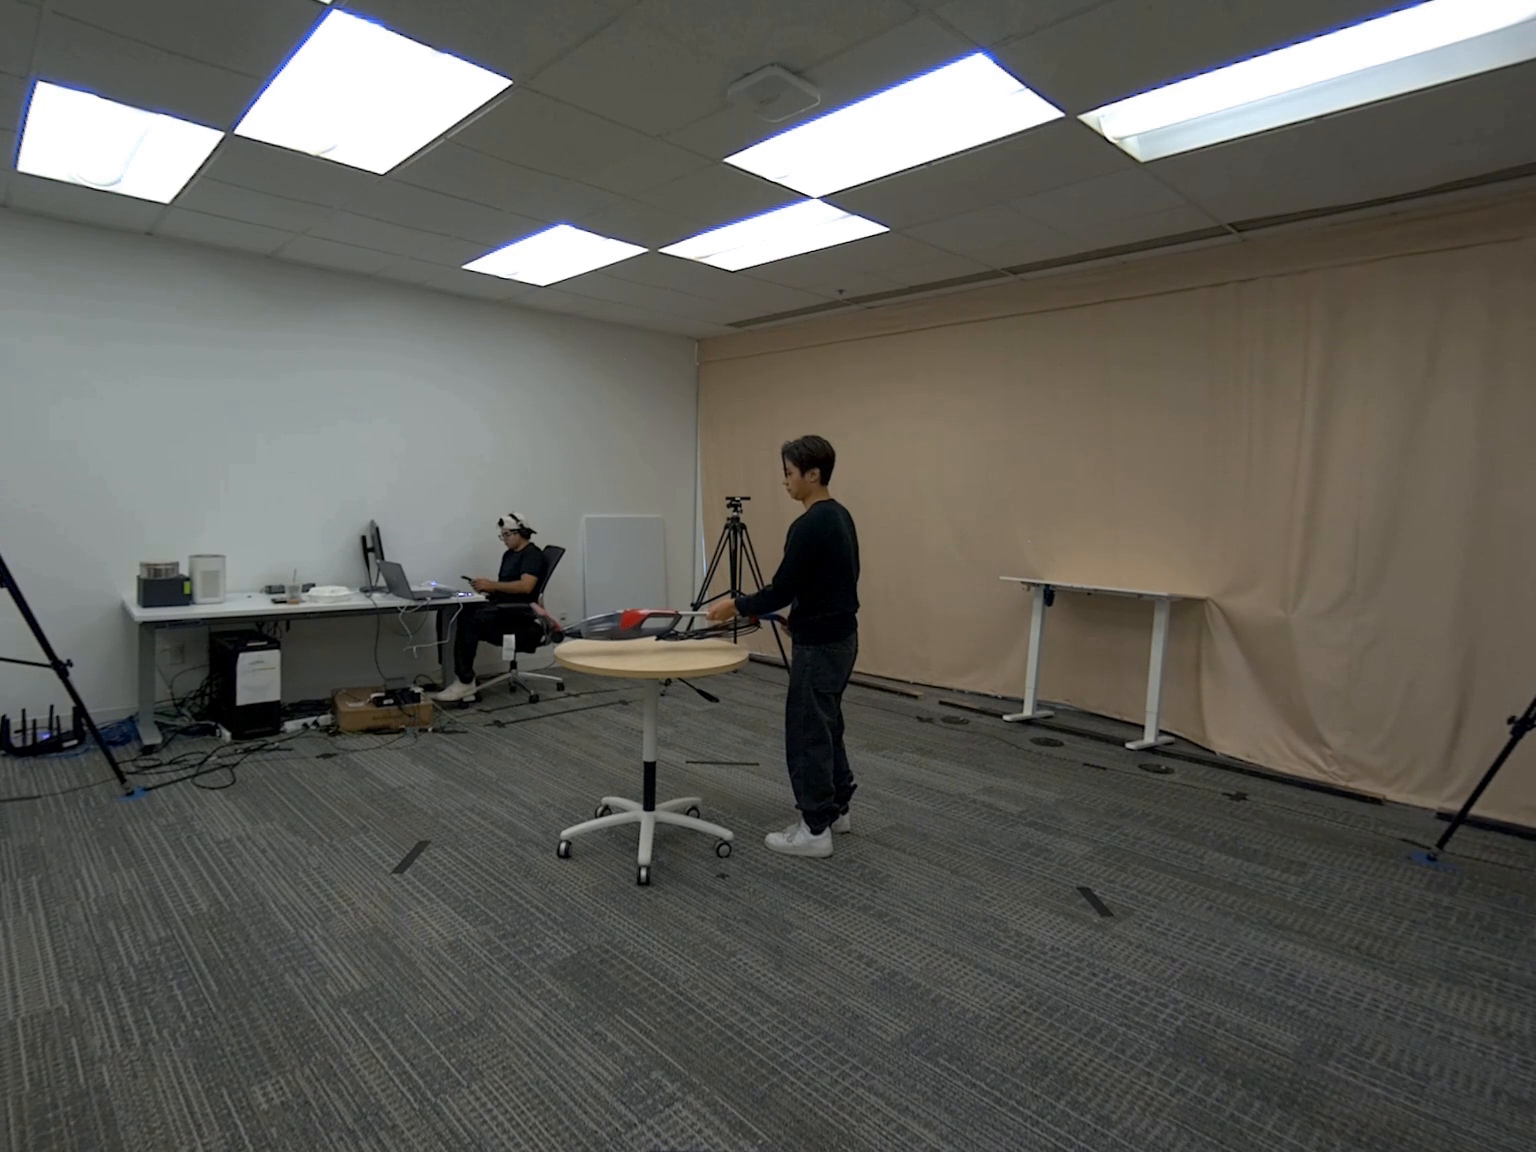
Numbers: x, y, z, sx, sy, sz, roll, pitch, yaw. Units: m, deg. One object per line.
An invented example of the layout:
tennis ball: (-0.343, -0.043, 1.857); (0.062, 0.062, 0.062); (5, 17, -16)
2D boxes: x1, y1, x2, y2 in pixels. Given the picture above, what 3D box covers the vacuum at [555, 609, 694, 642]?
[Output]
vacuum: (-0.371, 0.207, 3.345); (1.031, 0.143, 0.258); (3, 9, -22)
